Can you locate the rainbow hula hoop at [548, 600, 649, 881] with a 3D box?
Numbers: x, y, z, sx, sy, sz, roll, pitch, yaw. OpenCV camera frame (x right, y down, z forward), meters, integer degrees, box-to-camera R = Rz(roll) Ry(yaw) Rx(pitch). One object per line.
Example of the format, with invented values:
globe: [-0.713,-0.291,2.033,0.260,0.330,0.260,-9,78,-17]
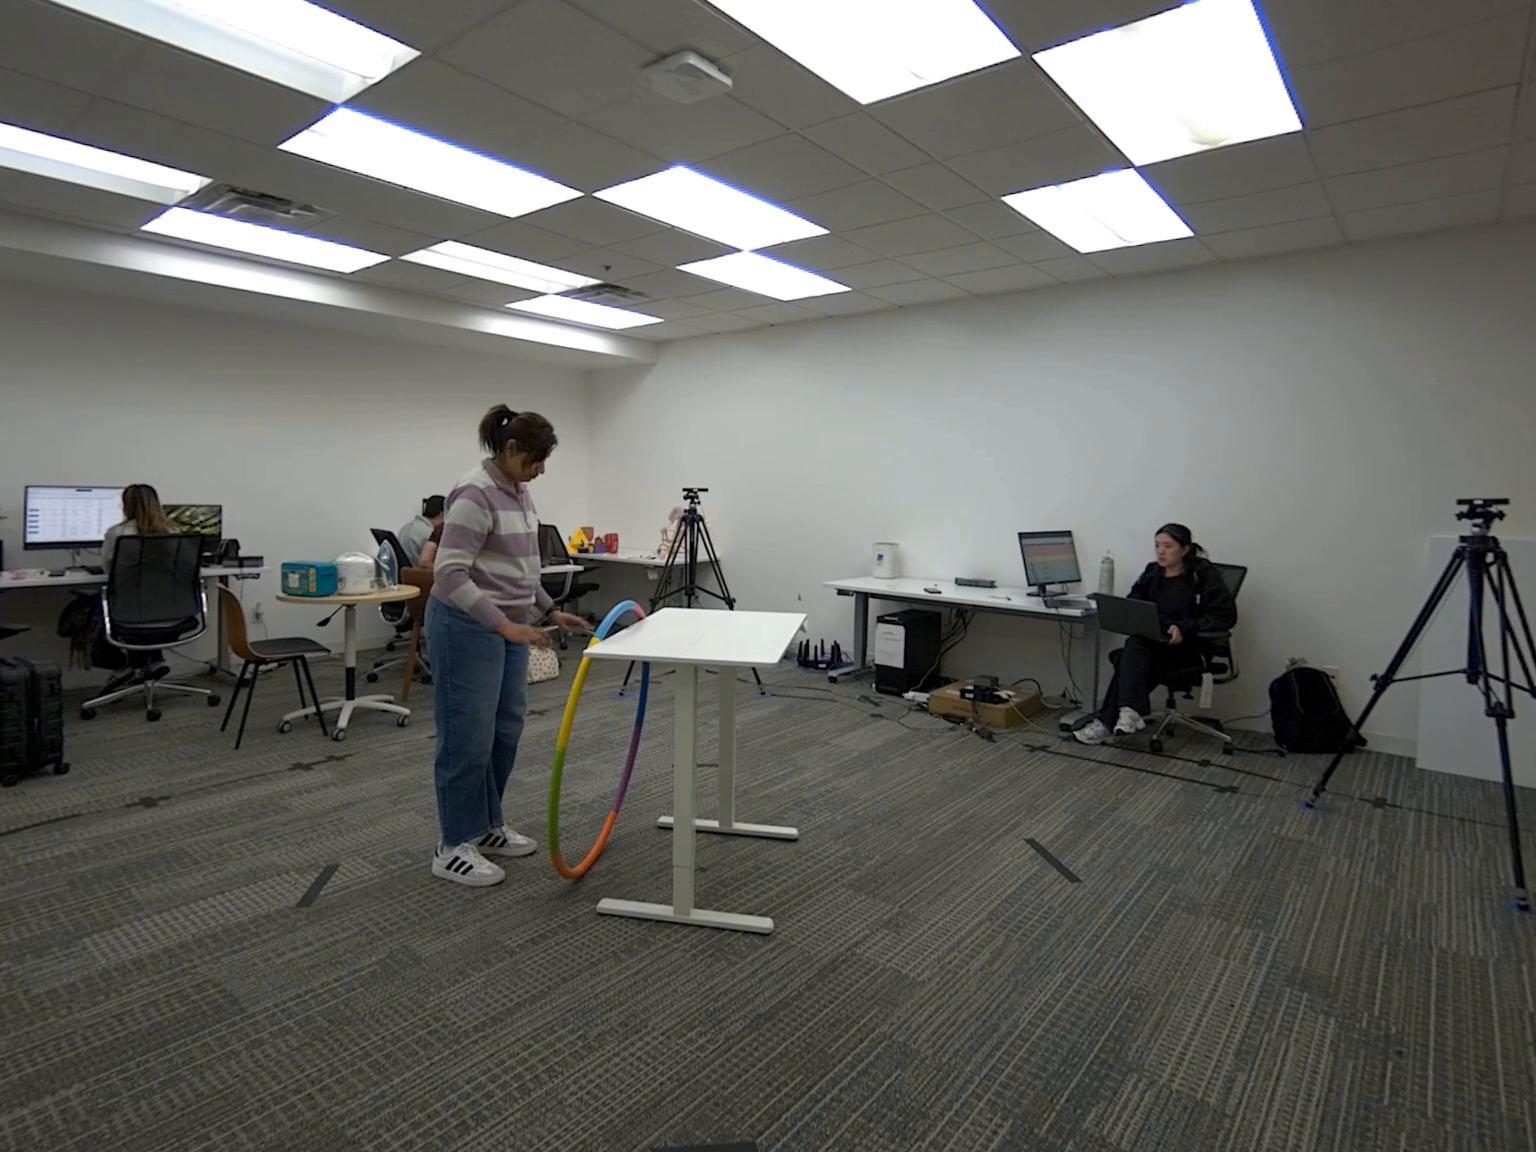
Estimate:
rainbow hula hoop: [-0.603,0.584,3.092,0.036,0.975,0.972,11,5,6]
